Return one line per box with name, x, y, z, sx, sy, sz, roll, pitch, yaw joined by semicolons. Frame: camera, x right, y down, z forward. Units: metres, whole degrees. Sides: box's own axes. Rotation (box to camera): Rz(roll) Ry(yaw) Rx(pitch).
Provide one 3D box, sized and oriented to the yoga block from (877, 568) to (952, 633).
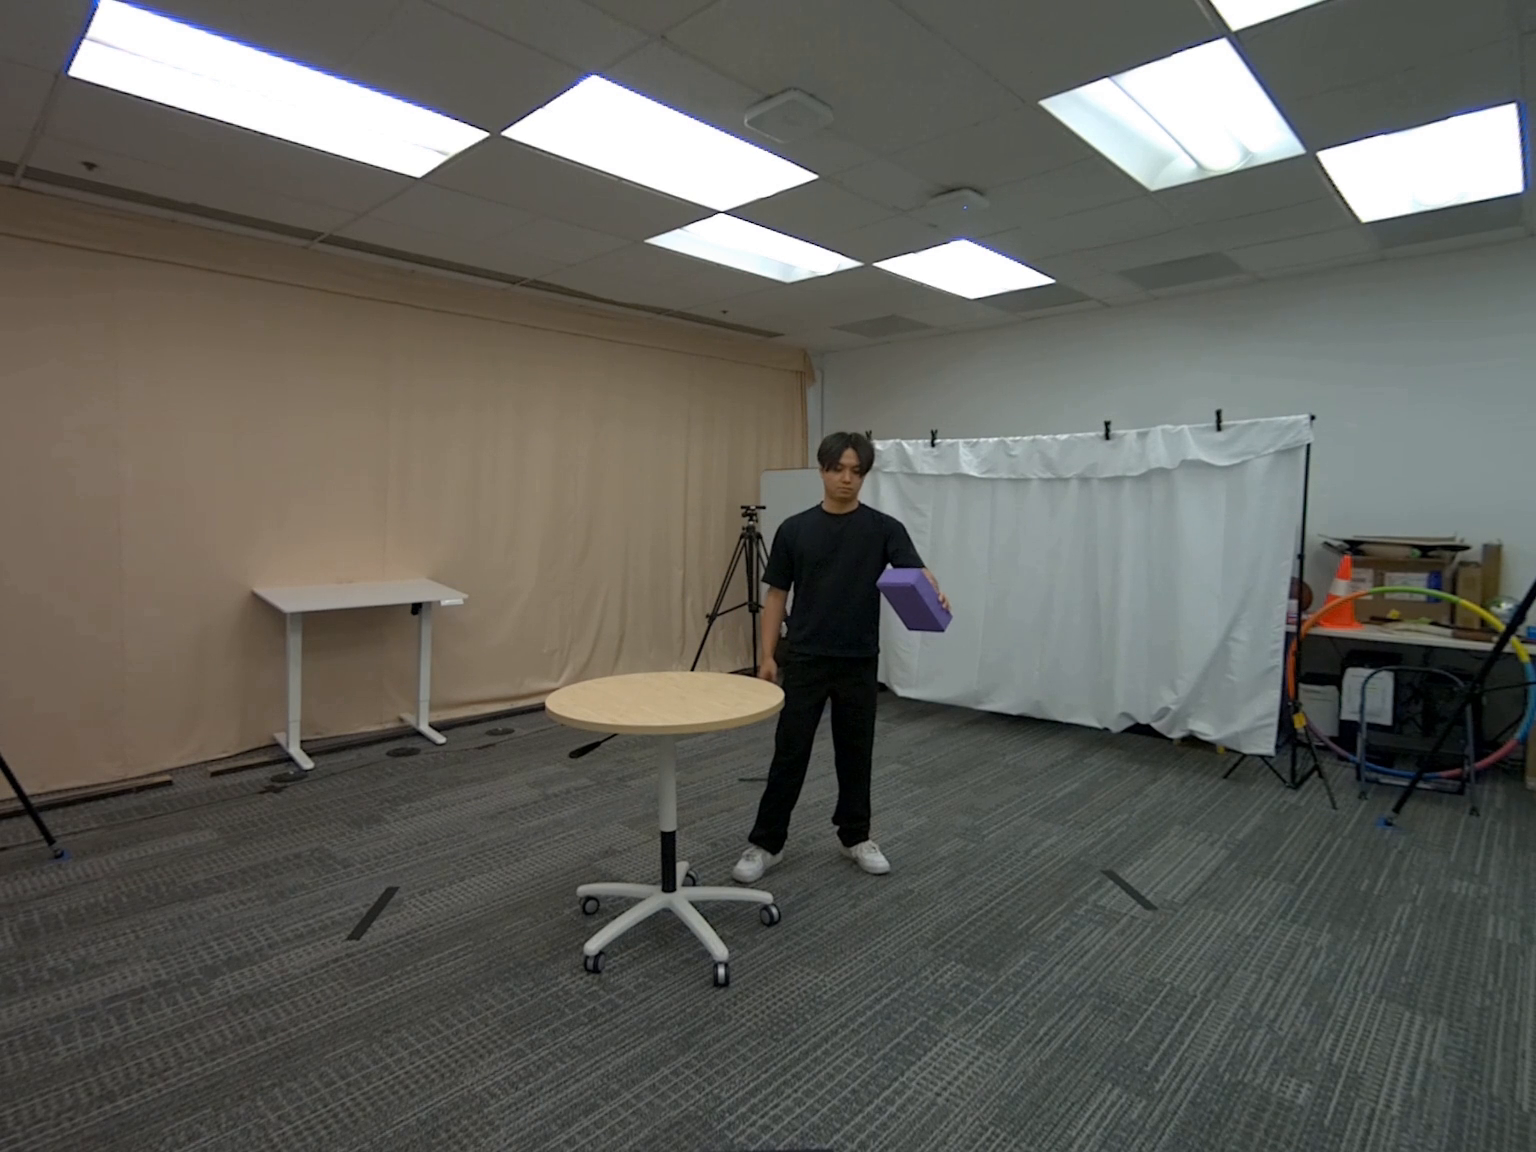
yoga block;0.457;0.077;2.673;0.154;0.223;0.076;-1;45;49
